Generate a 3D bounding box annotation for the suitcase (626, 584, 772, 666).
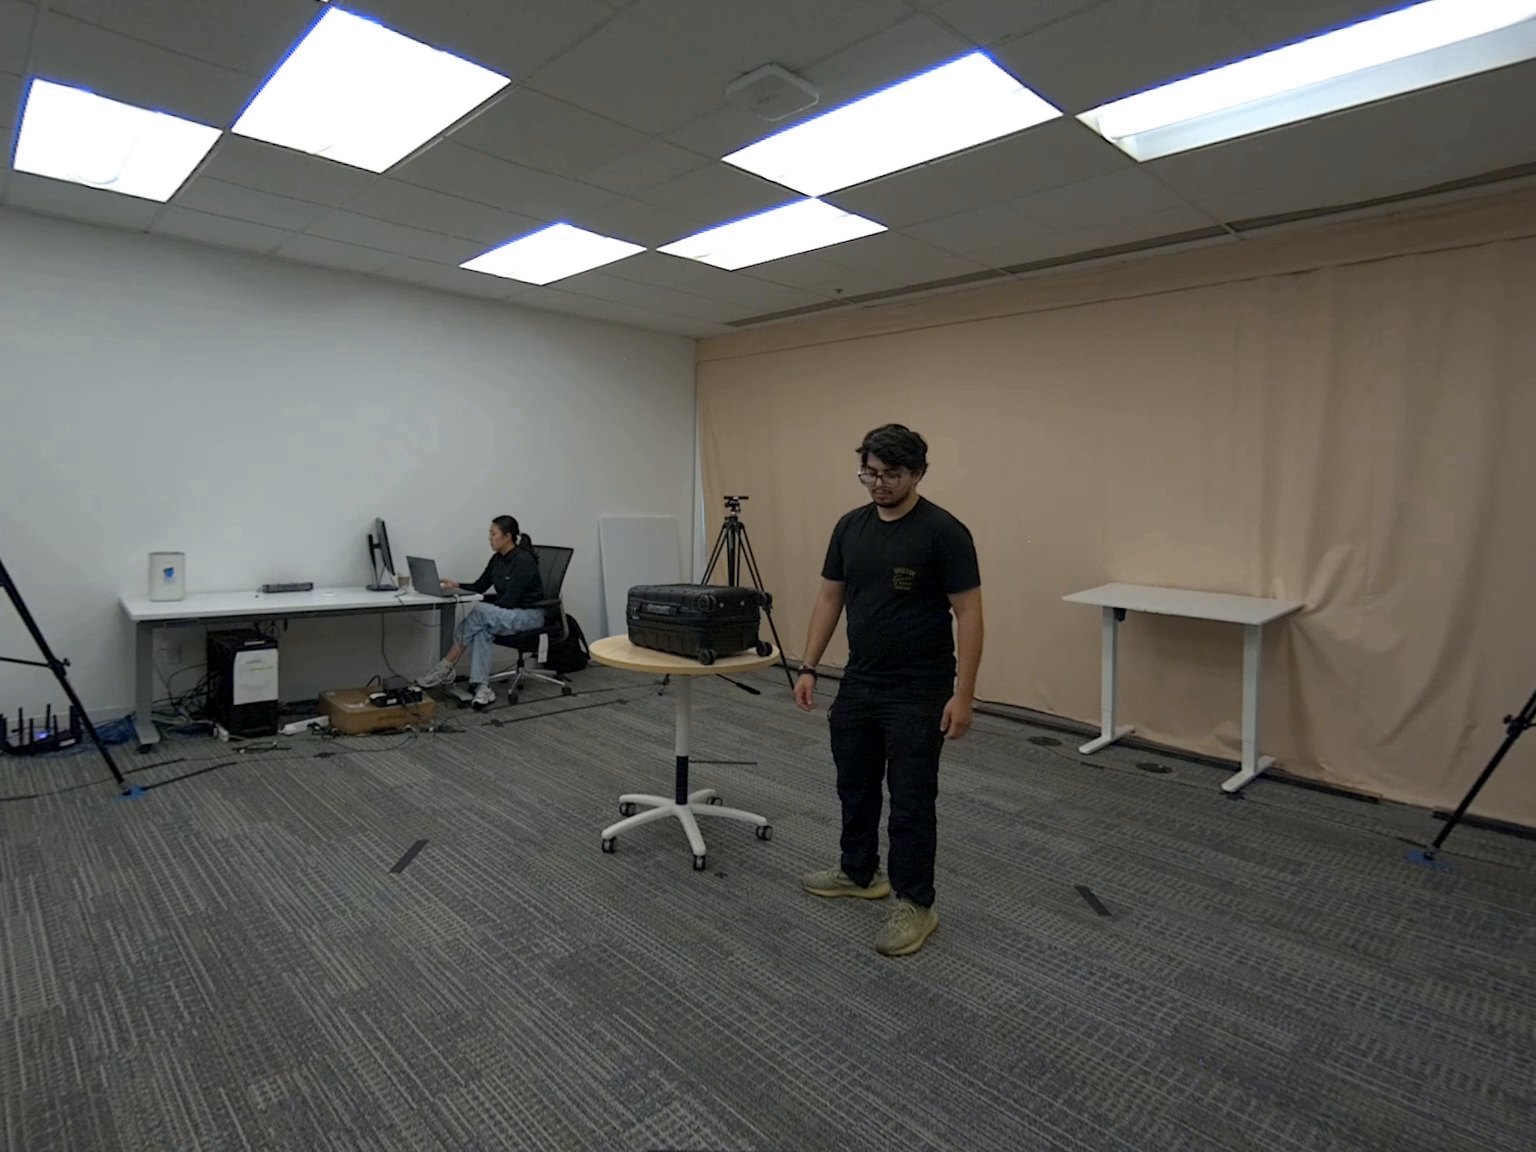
[{"bbox_3d":[-0.300,0.171,3.354,0.367,0.248,0.563,-4,6,-43],"label":"suitcase"}]
